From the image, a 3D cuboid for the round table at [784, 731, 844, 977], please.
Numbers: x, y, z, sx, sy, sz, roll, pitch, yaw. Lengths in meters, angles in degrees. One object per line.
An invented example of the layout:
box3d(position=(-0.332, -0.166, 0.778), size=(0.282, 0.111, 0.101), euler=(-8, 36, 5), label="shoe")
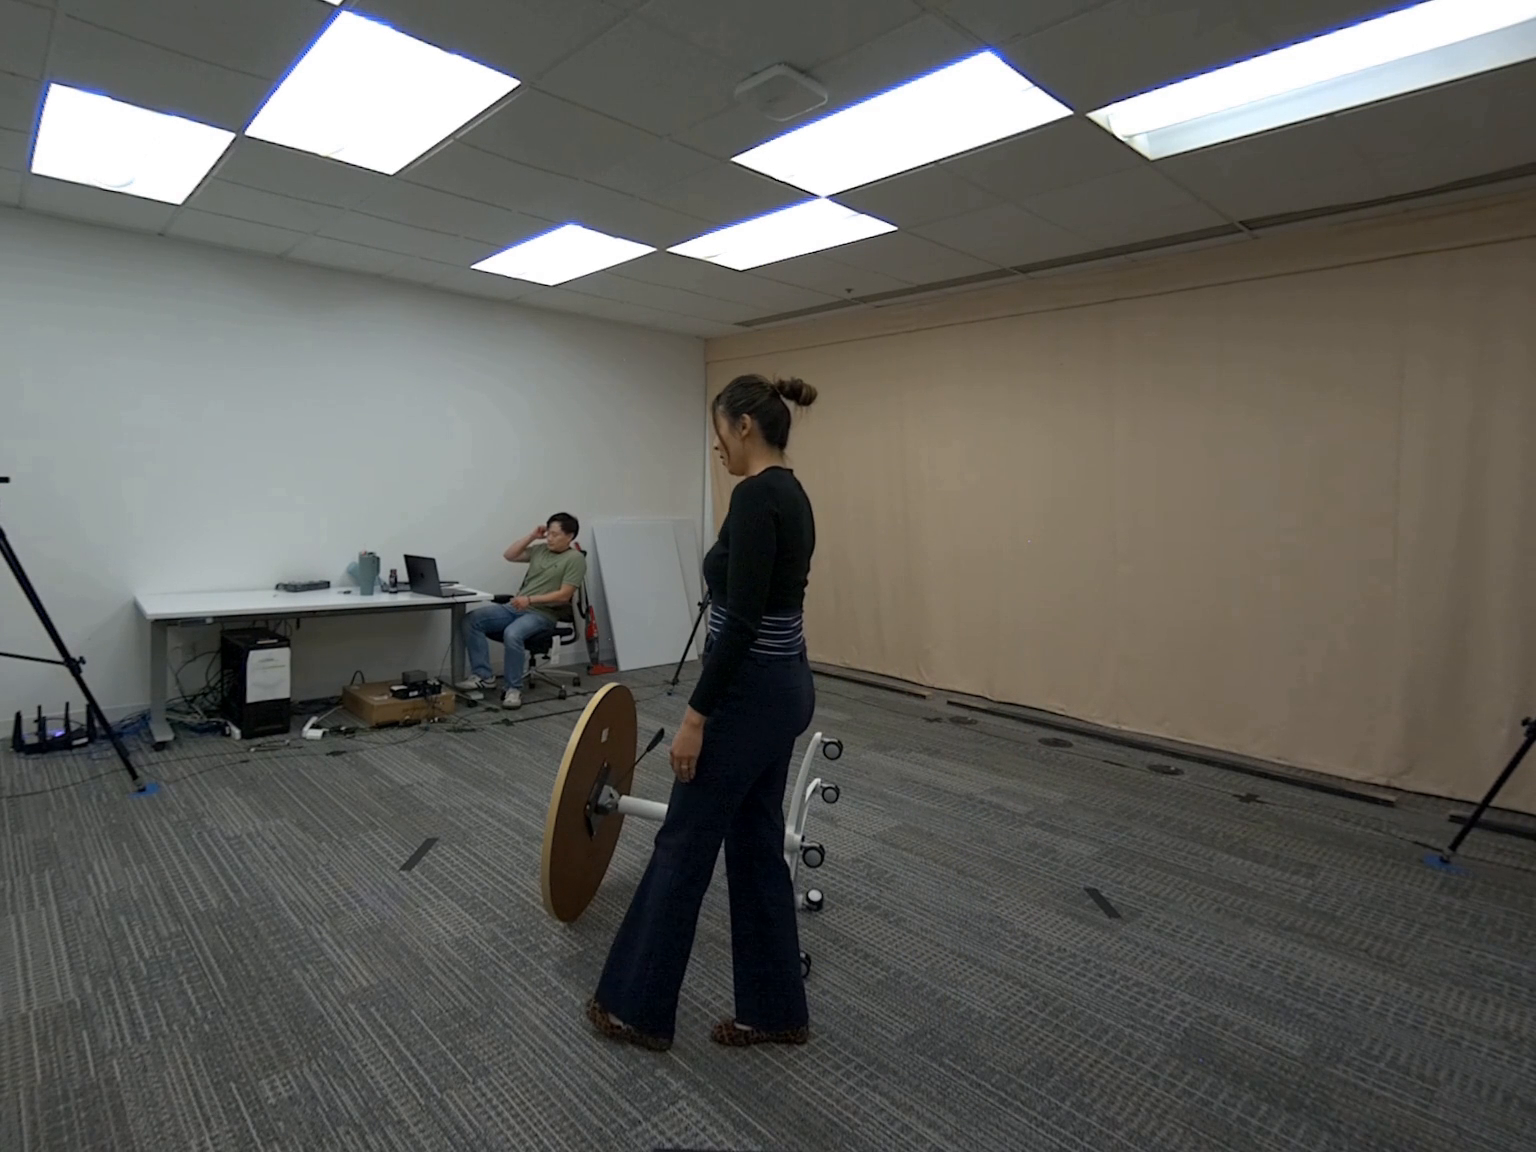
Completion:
box3d(position=(-0.202, 0.803, 2.720), size=(0.801, 0.761, 0.759), euler=(8, 5, 10), label="round table")
